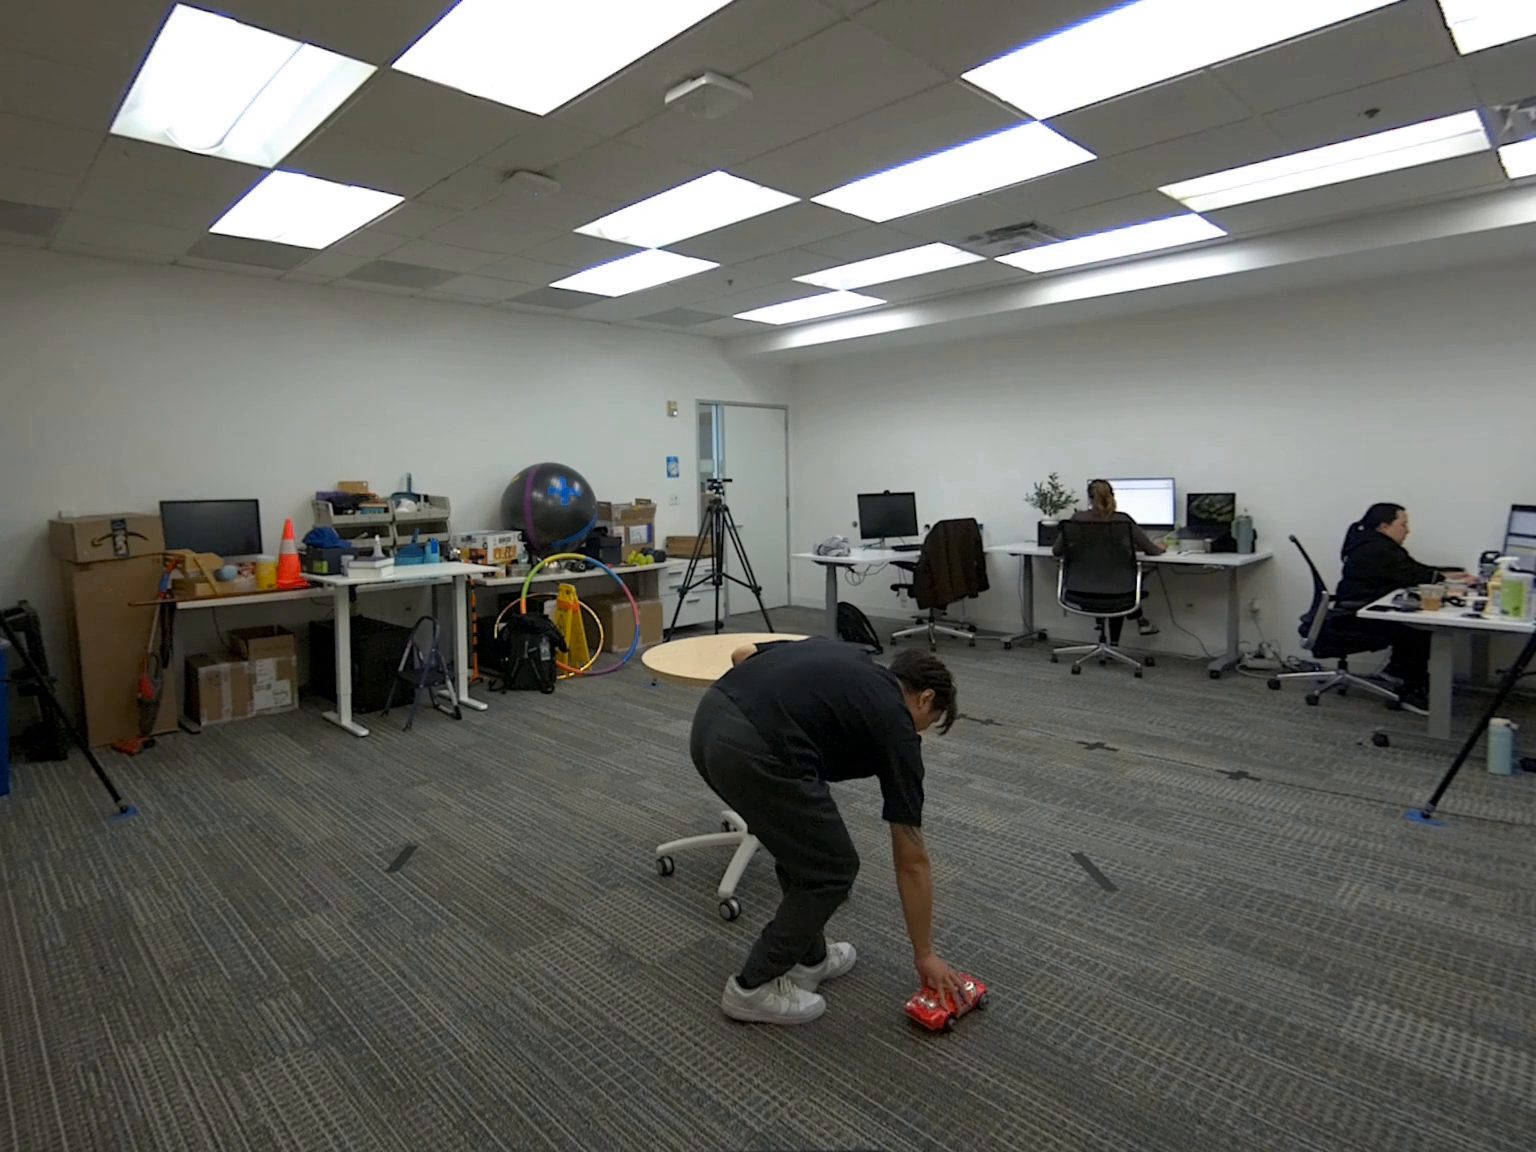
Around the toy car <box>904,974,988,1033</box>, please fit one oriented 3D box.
[{"bbox_3d":[0.459,1.107,2.215,0.246,0.083,0.134,5,2,-41],"label":"toy car"}]
